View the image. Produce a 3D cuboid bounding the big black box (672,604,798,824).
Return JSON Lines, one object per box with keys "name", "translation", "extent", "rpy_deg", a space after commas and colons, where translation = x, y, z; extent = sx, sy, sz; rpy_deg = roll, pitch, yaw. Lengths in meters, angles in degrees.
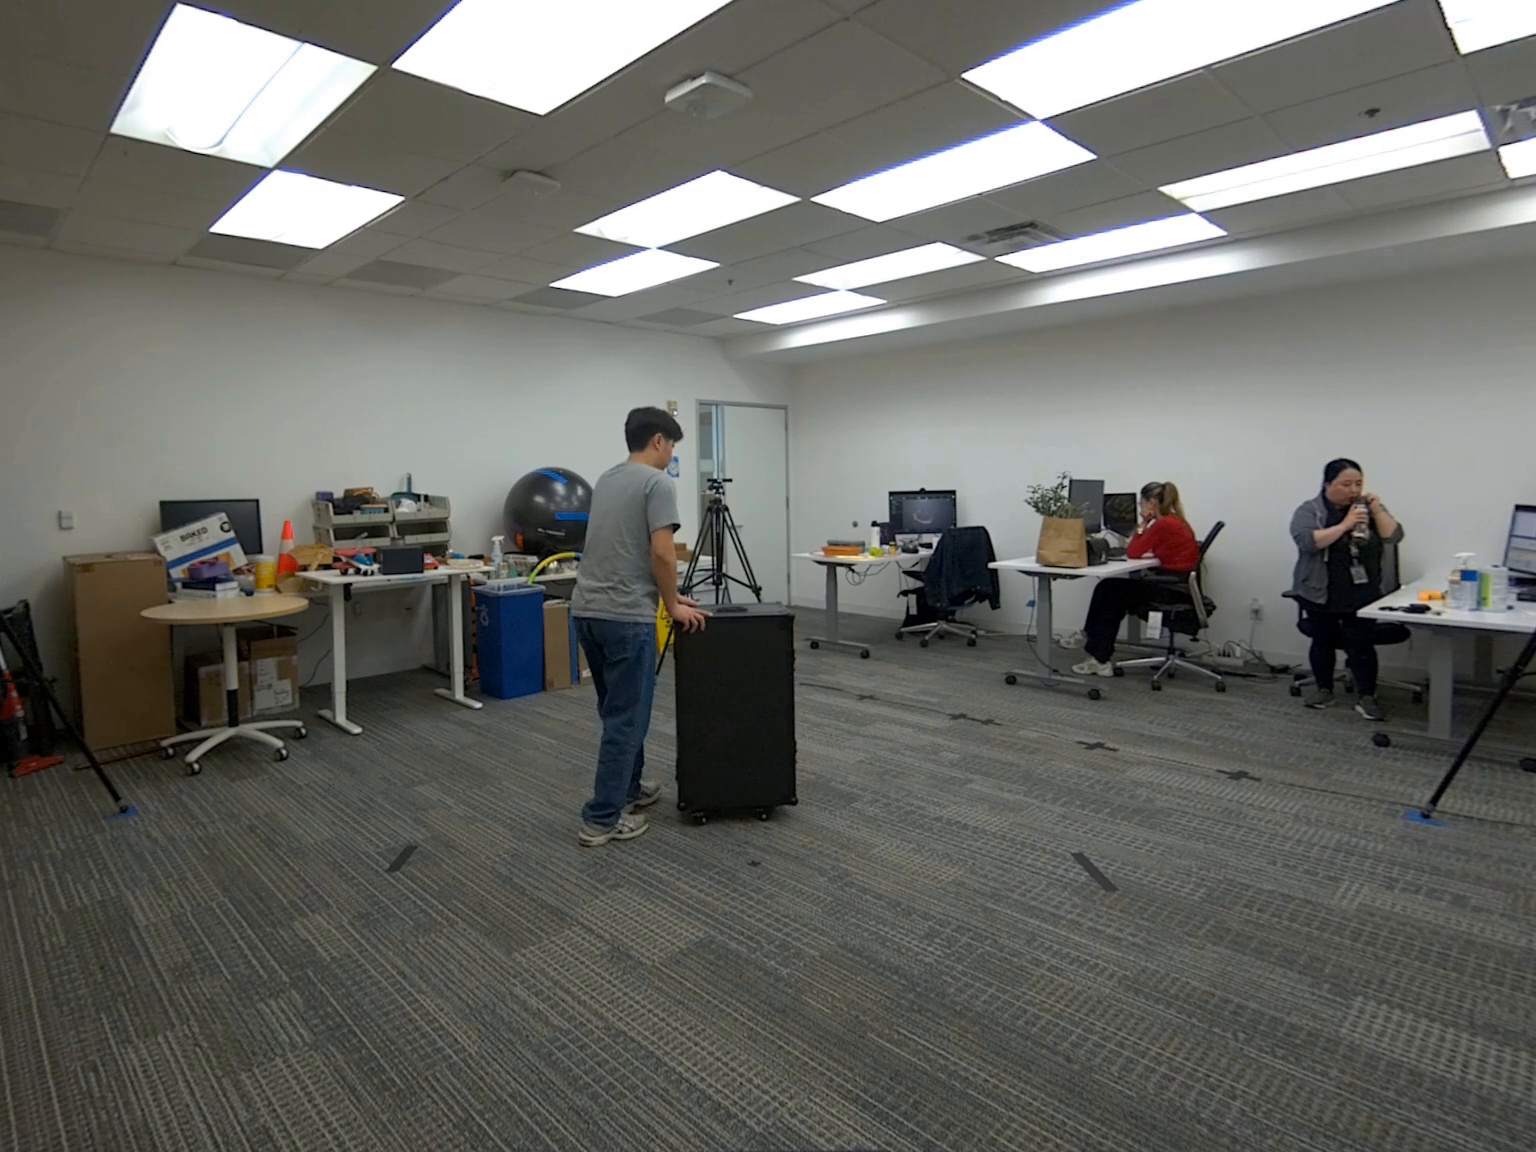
{"name": "big black box", "translation": [-0.154, 0.566, 3.621], "extent": [0.519, 0.859, 0.399], "rpy_deg": [-1, 3, -4]}
